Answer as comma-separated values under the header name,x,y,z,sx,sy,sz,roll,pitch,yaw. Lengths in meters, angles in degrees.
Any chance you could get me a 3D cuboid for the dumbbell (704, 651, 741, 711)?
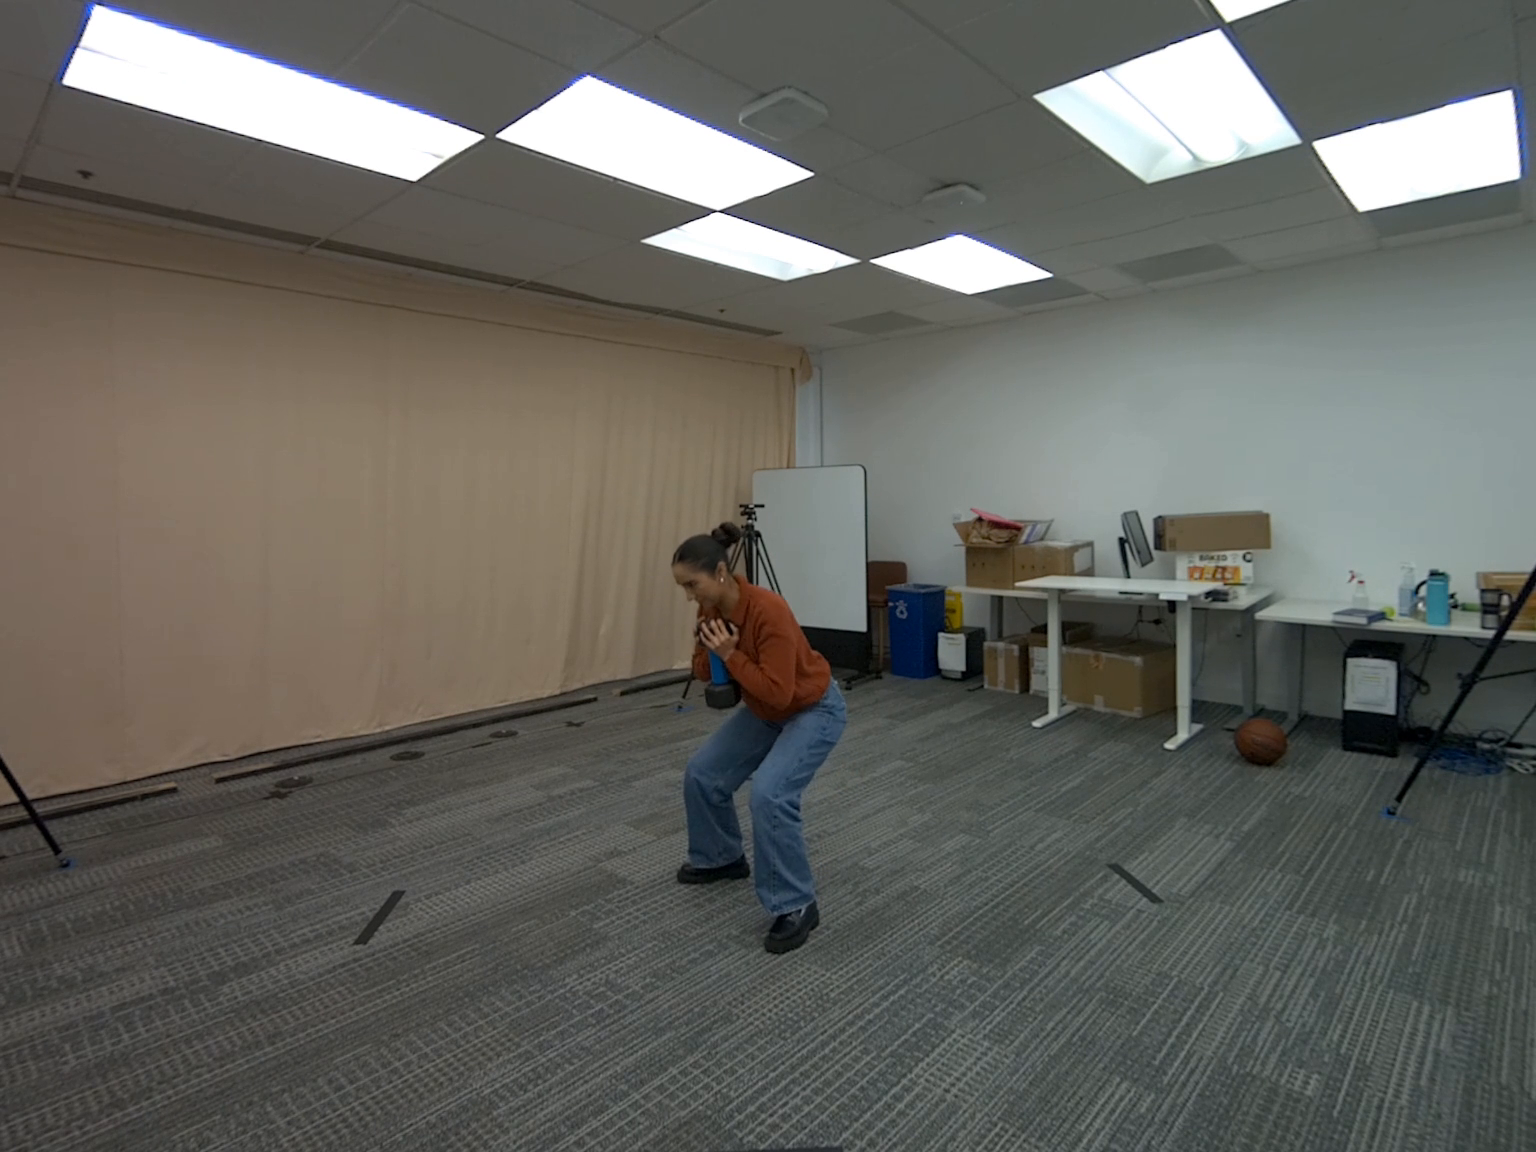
name,x,y,z,sx,sy,sz,roll,pitch,yaw
dumbbell,-0.156,0.297,2.841,0.127,0.293,0.105,0,5,44
